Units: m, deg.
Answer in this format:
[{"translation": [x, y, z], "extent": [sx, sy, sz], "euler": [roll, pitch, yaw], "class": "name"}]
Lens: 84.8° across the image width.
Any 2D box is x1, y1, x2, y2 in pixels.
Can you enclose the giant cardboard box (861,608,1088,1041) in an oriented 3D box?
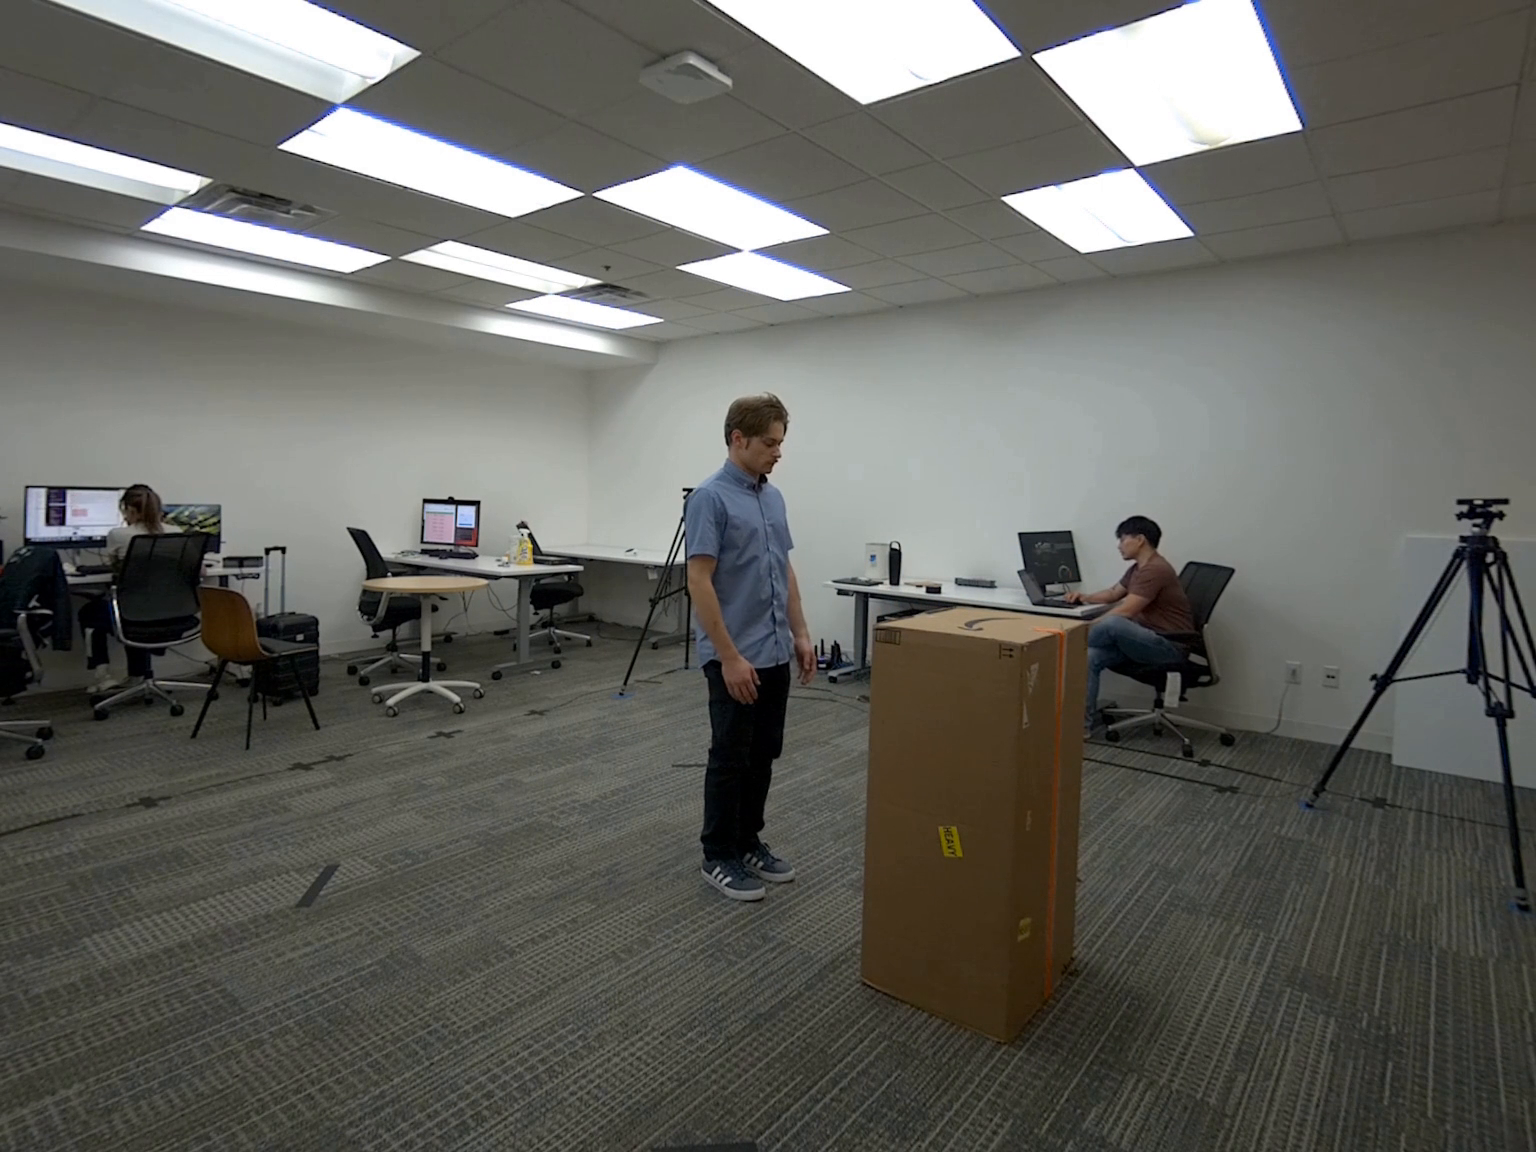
[{"translation": [0.609, 0.640, 2.475], "extent": [0.440, 1.023, 0.560], "euler": [3, 4, 37], "class": "giant cardboard box"}]
